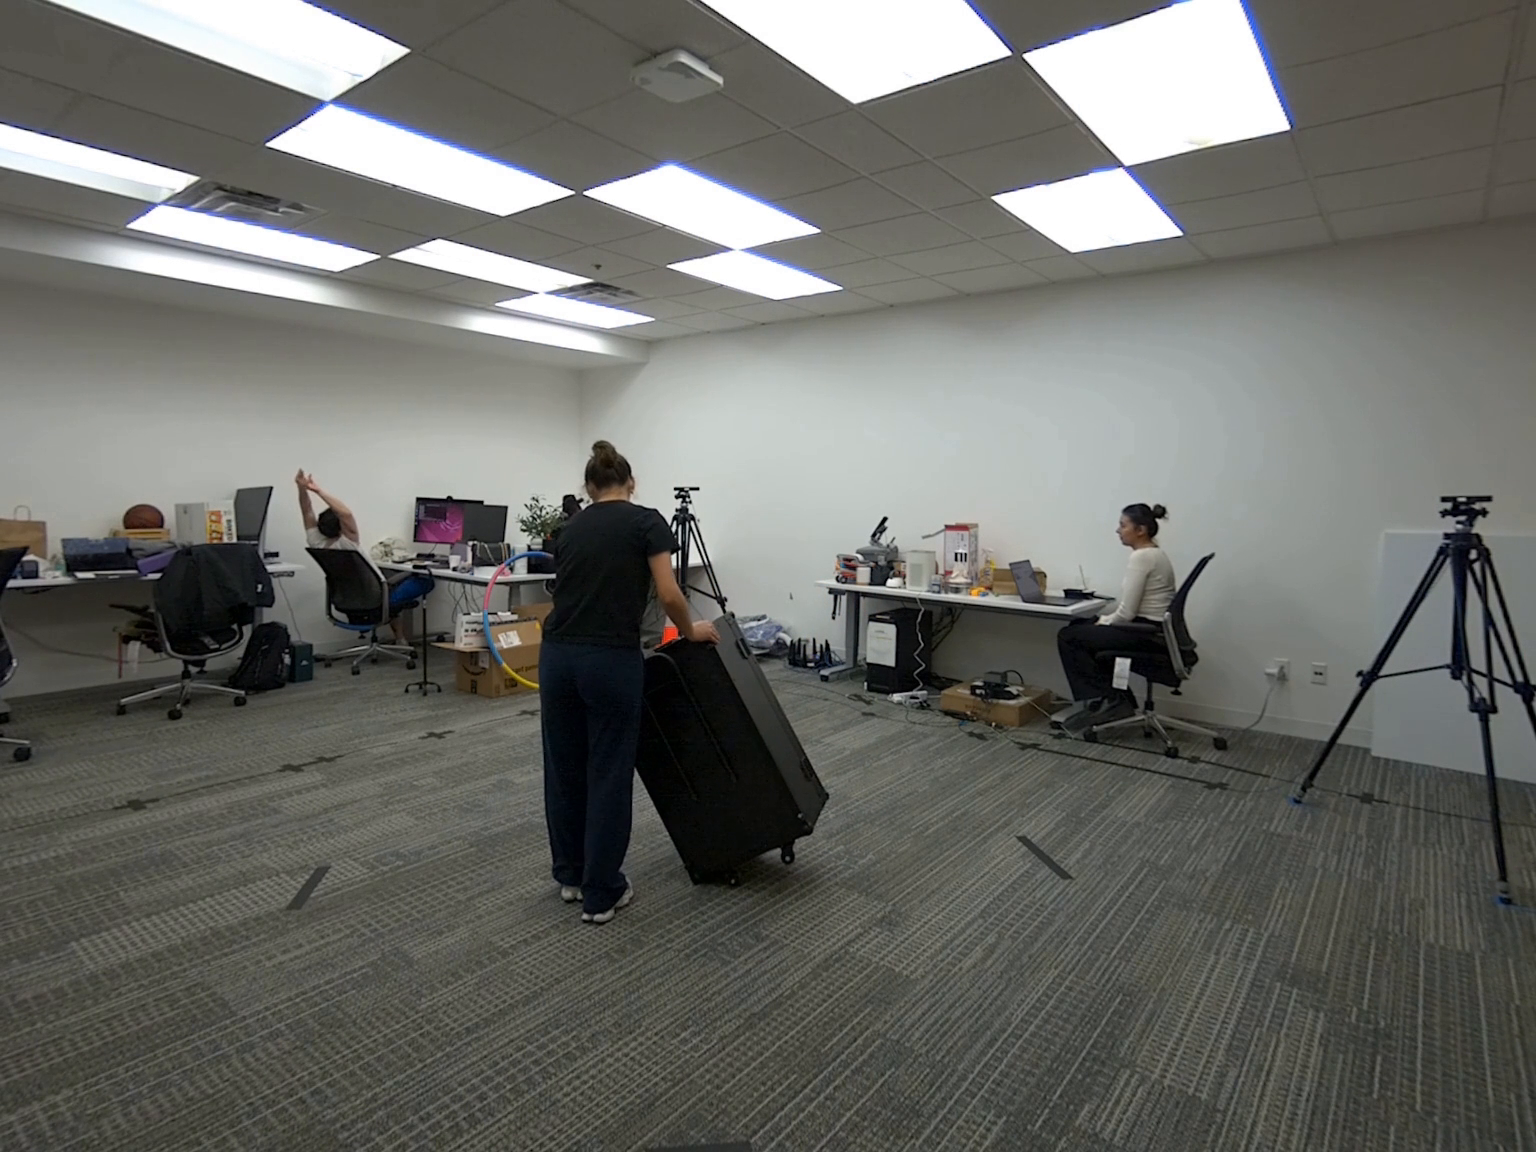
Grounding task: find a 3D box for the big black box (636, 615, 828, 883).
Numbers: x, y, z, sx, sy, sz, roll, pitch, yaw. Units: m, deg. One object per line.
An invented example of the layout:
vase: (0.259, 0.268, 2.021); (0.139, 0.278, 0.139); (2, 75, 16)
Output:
big black box: (-0.167, 0.634, 3.117); (0.525, 0.867, 0.391); (-29, -4, 17)
